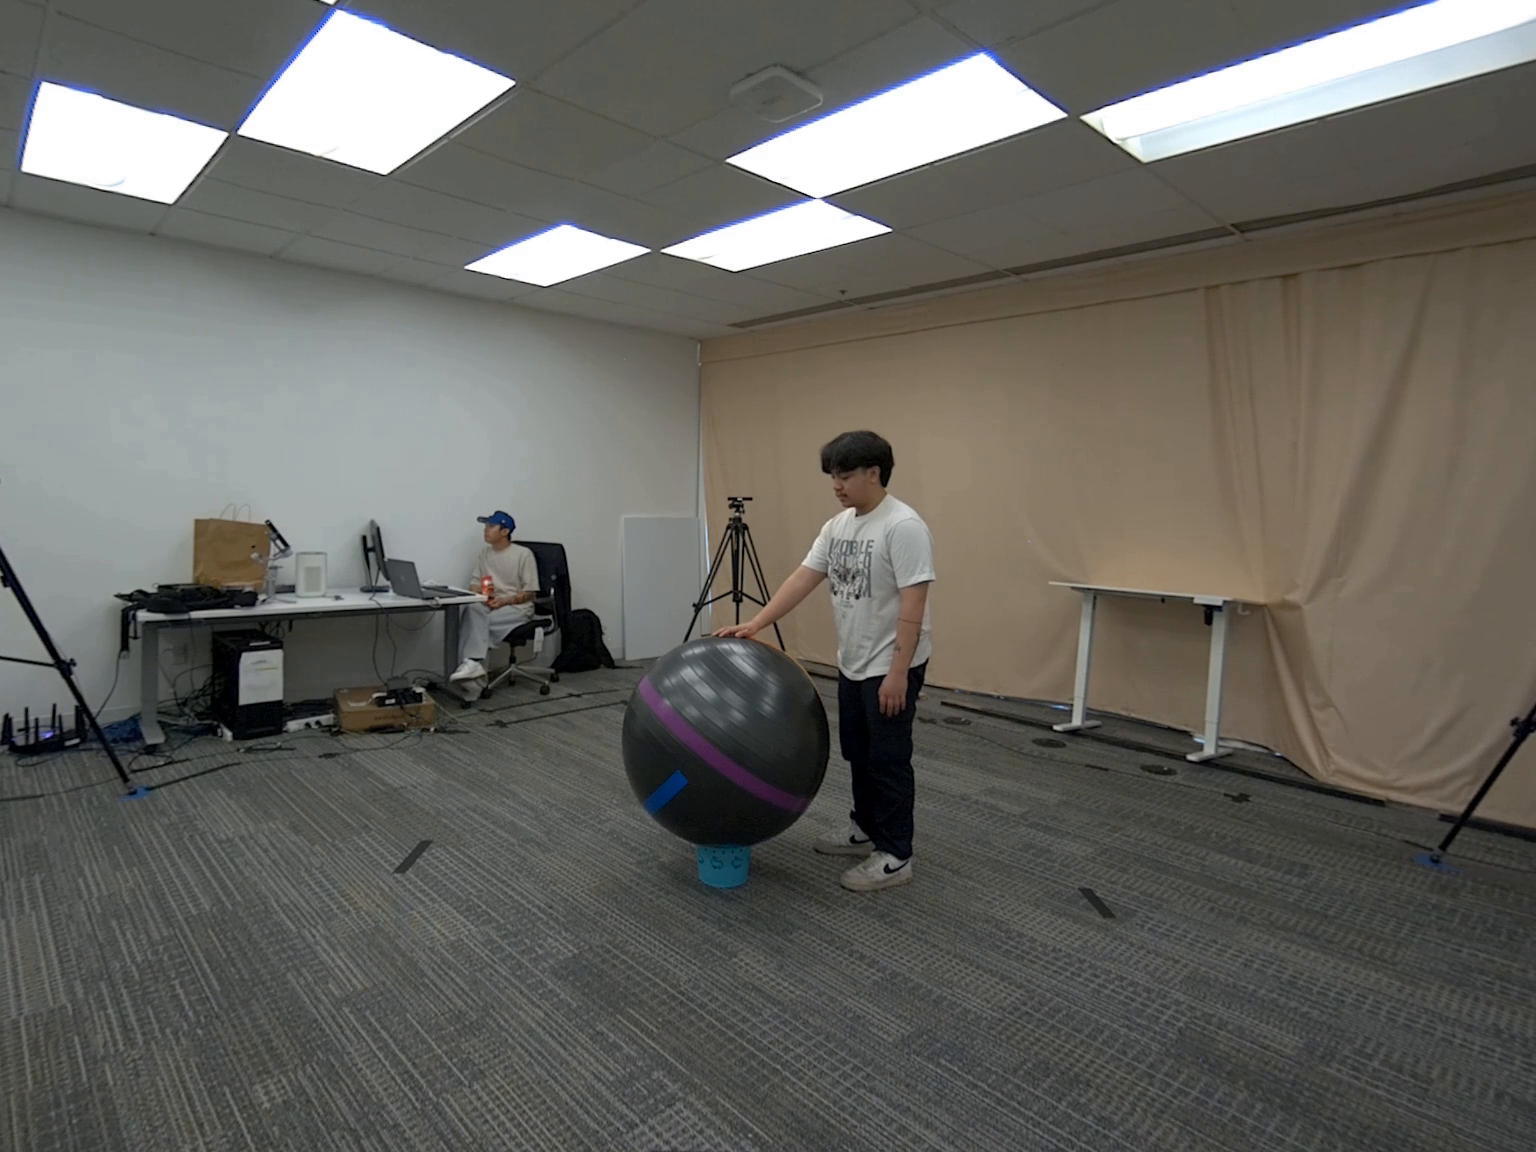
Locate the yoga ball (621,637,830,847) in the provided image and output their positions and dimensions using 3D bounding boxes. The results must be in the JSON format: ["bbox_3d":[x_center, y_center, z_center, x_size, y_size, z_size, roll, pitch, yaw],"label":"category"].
[{"bbox_3d":[-0.162,0.602,3.089,0.757,0.756,0.761,1,4,-1],"label":"yoga ball"}]
